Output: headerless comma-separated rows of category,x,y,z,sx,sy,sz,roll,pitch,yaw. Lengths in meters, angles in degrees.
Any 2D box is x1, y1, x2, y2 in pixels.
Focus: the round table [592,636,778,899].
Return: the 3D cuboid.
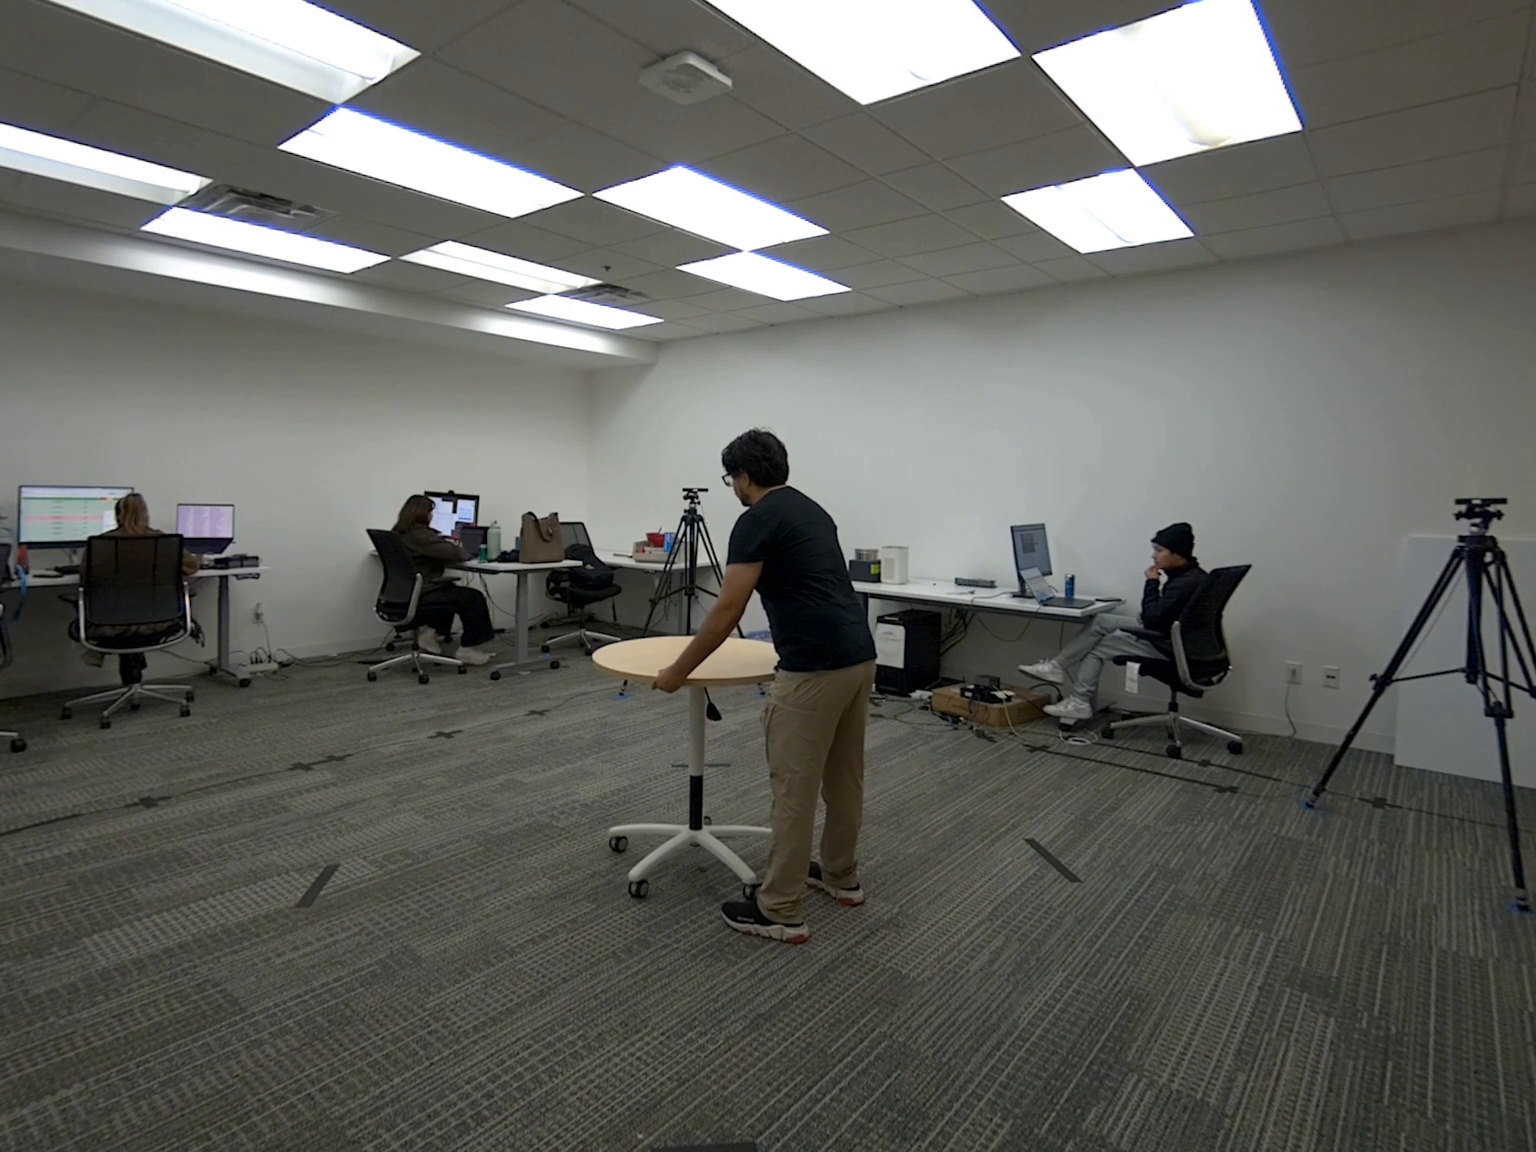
round table,-0.285,0.672,3.114,0.784,0.784,0.789,1,4,-2
